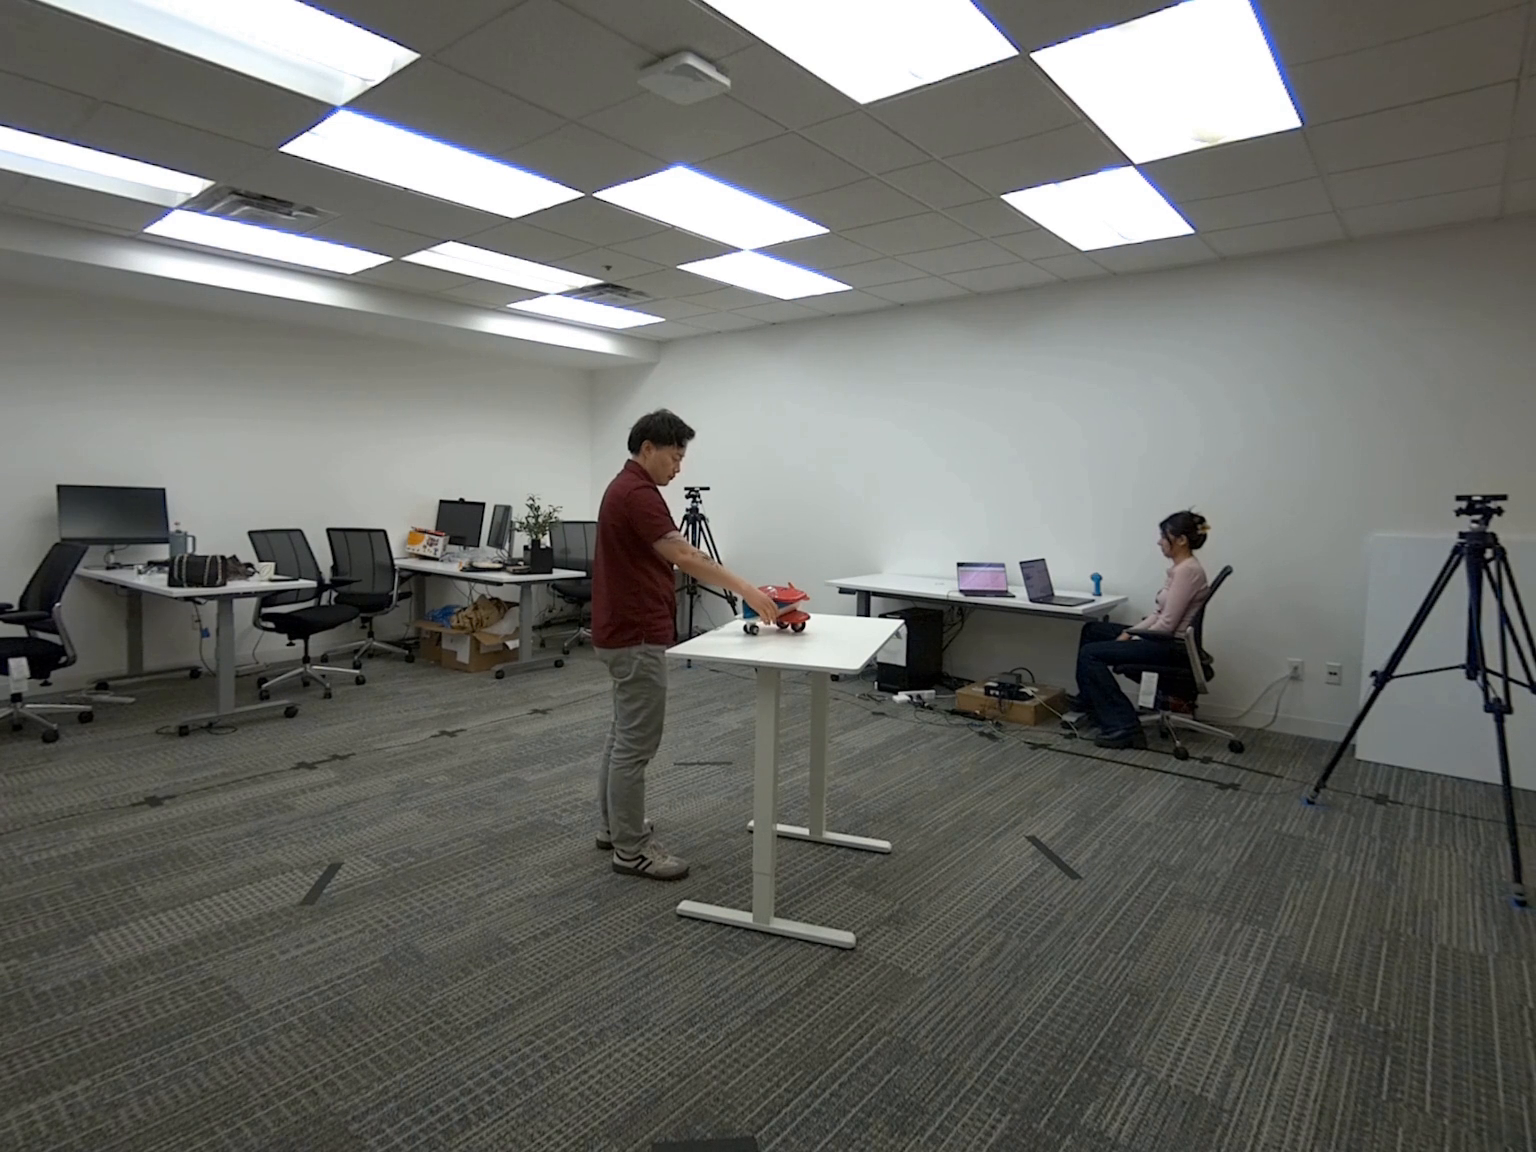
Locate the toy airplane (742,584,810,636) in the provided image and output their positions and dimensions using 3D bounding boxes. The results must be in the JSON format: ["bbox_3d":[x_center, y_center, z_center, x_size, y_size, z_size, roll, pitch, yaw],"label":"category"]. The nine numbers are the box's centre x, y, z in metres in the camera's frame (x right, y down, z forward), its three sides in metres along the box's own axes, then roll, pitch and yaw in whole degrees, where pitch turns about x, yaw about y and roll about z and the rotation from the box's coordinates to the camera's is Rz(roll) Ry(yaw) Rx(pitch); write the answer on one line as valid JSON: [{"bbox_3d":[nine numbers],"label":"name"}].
[{"bbox_3d":[0.021,0.122,3.006,0.258,0.156,0.253,4,5,25],"label":"toy airplane"}]
